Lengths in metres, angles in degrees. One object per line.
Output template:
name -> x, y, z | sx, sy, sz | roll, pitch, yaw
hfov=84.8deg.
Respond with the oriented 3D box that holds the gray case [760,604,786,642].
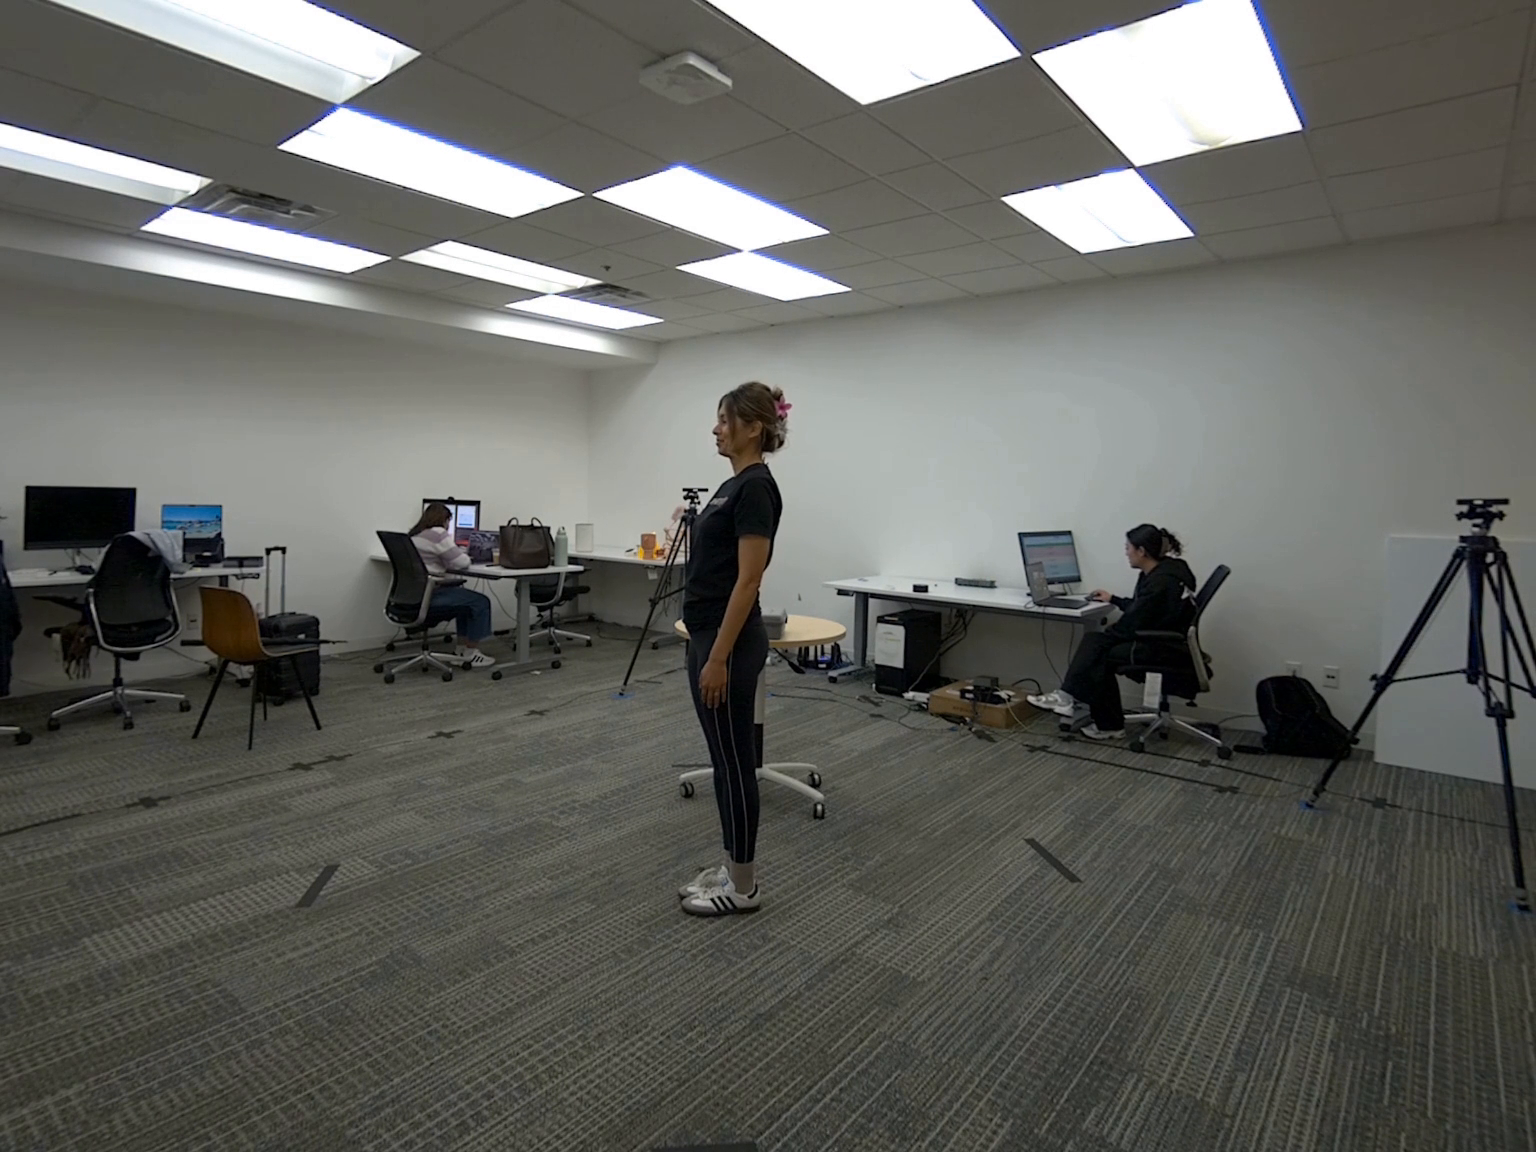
gray case -> -0.074, 0.192, 3.586 | 0.263, 0.104, 0.256 | 2, 7, 9
